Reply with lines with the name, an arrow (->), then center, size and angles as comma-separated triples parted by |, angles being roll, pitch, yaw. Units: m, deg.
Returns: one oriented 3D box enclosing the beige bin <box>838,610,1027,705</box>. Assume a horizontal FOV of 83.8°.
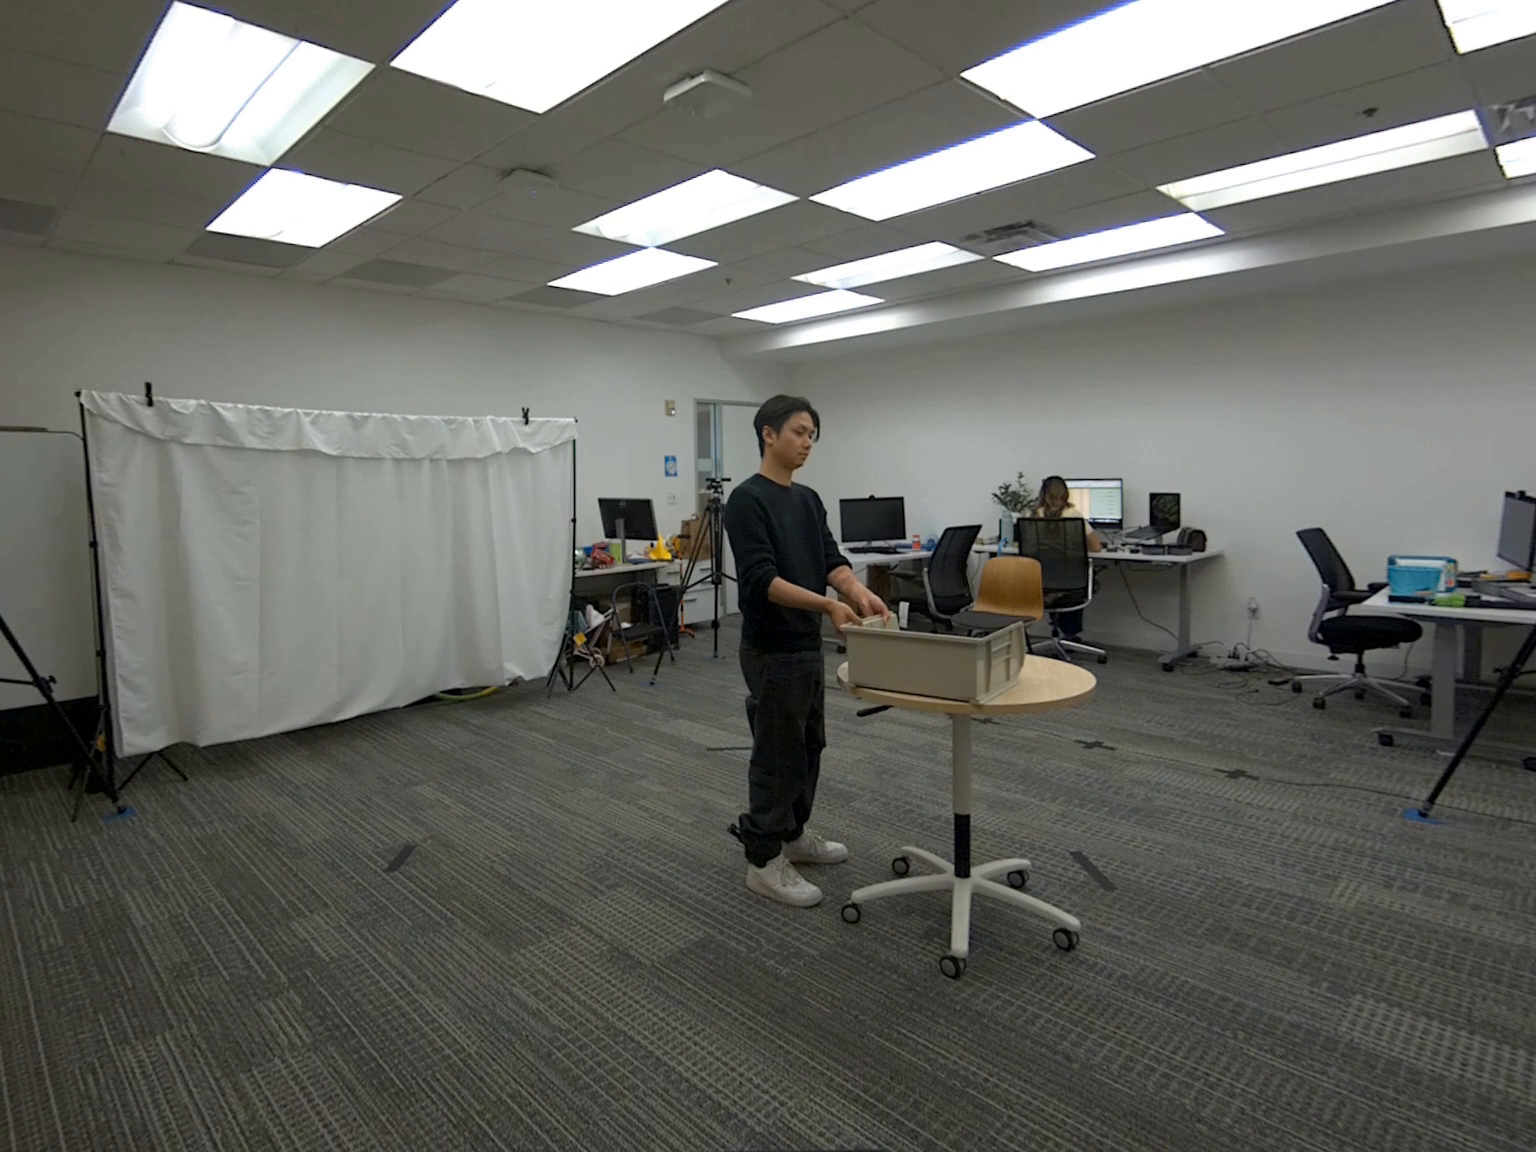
beige bin -> 0.493, 0.224, 2.510 | 0.434, 0.188, 0.368 | 3, 8, 36
